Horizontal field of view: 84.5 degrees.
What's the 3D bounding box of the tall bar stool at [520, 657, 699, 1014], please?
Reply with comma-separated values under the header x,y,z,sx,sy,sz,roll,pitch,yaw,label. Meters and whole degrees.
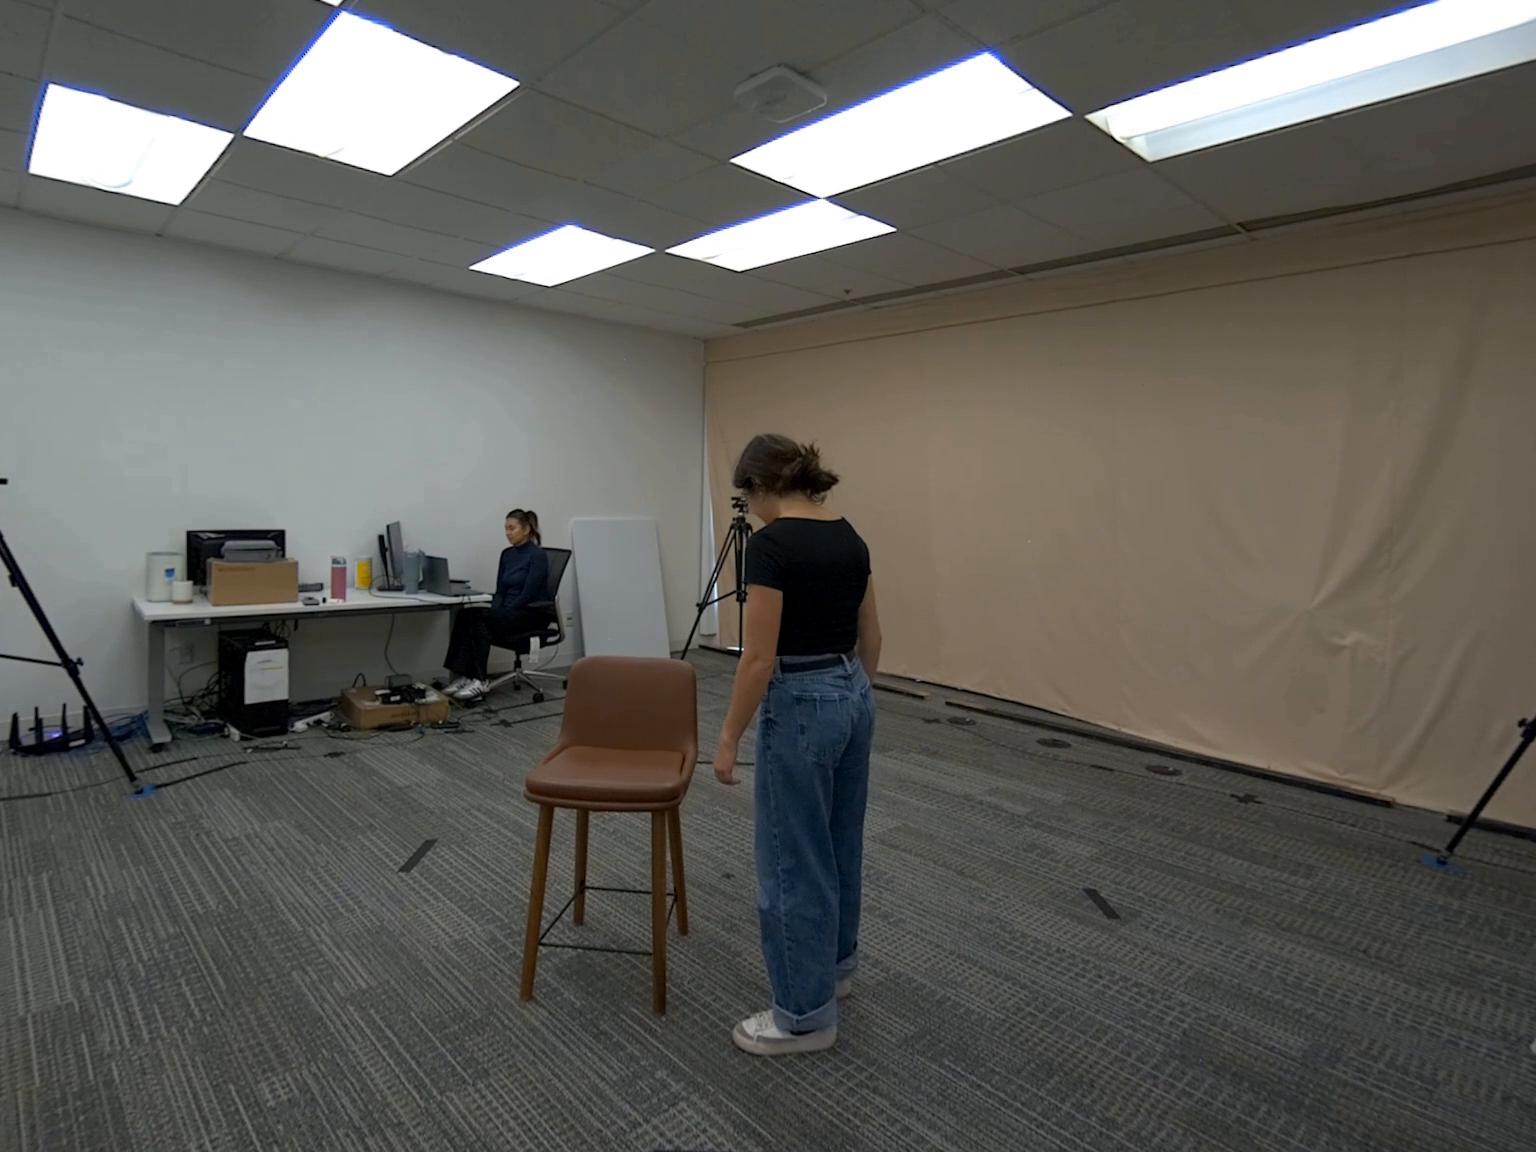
x,y,z,sx,sy,sz,roll,pitch,yaw,label
-0.459,0.725,2.484,0.459,0.889,0.465,1,1,7,tall bar stool
